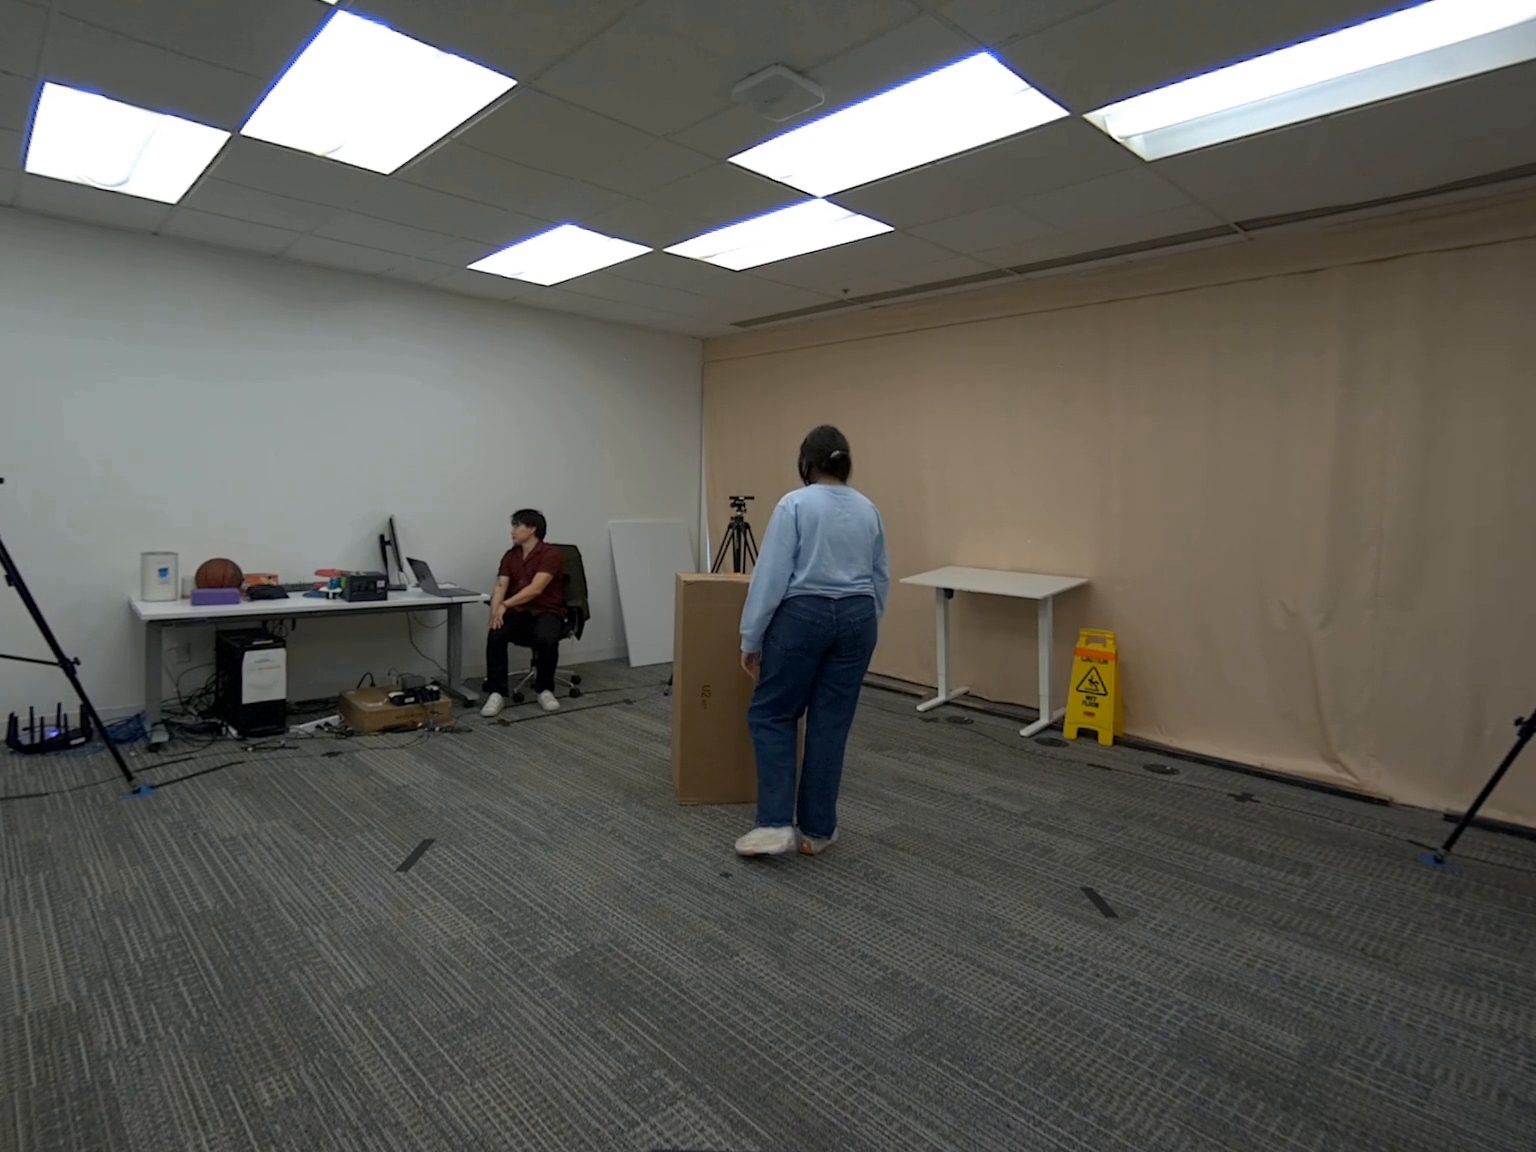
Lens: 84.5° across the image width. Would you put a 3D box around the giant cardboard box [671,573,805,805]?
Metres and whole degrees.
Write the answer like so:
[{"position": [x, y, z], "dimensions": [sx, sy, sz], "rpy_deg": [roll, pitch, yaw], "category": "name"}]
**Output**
[{"position": [-0.164, 0.514, 4.038], "dimensions": [0.573, 1.024, 0.430], "rpy_deg": [1, 3, -10], "category": "giant cardboard box"}]
